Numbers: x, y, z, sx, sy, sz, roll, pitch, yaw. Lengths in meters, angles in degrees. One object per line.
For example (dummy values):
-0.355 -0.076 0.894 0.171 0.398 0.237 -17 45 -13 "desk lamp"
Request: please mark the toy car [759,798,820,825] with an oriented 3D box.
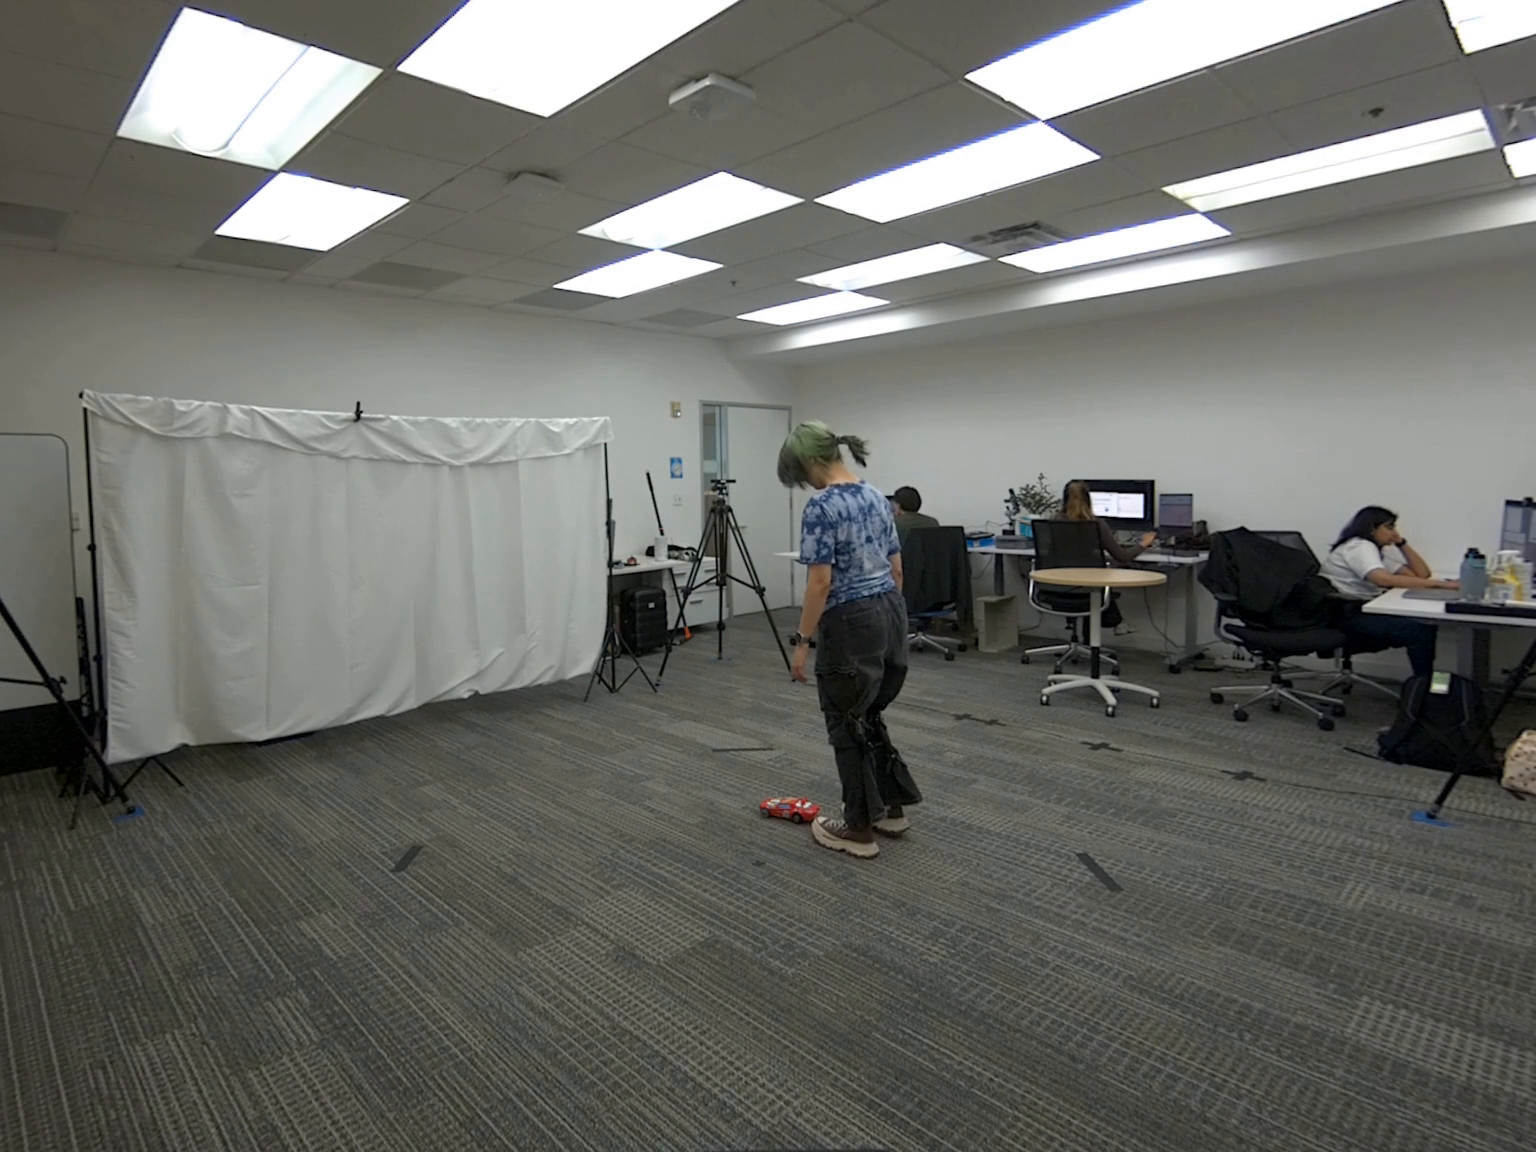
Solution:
0.097 0.967 3.531 0.260 0.083 0.127 -10 0 28 "toy car"
